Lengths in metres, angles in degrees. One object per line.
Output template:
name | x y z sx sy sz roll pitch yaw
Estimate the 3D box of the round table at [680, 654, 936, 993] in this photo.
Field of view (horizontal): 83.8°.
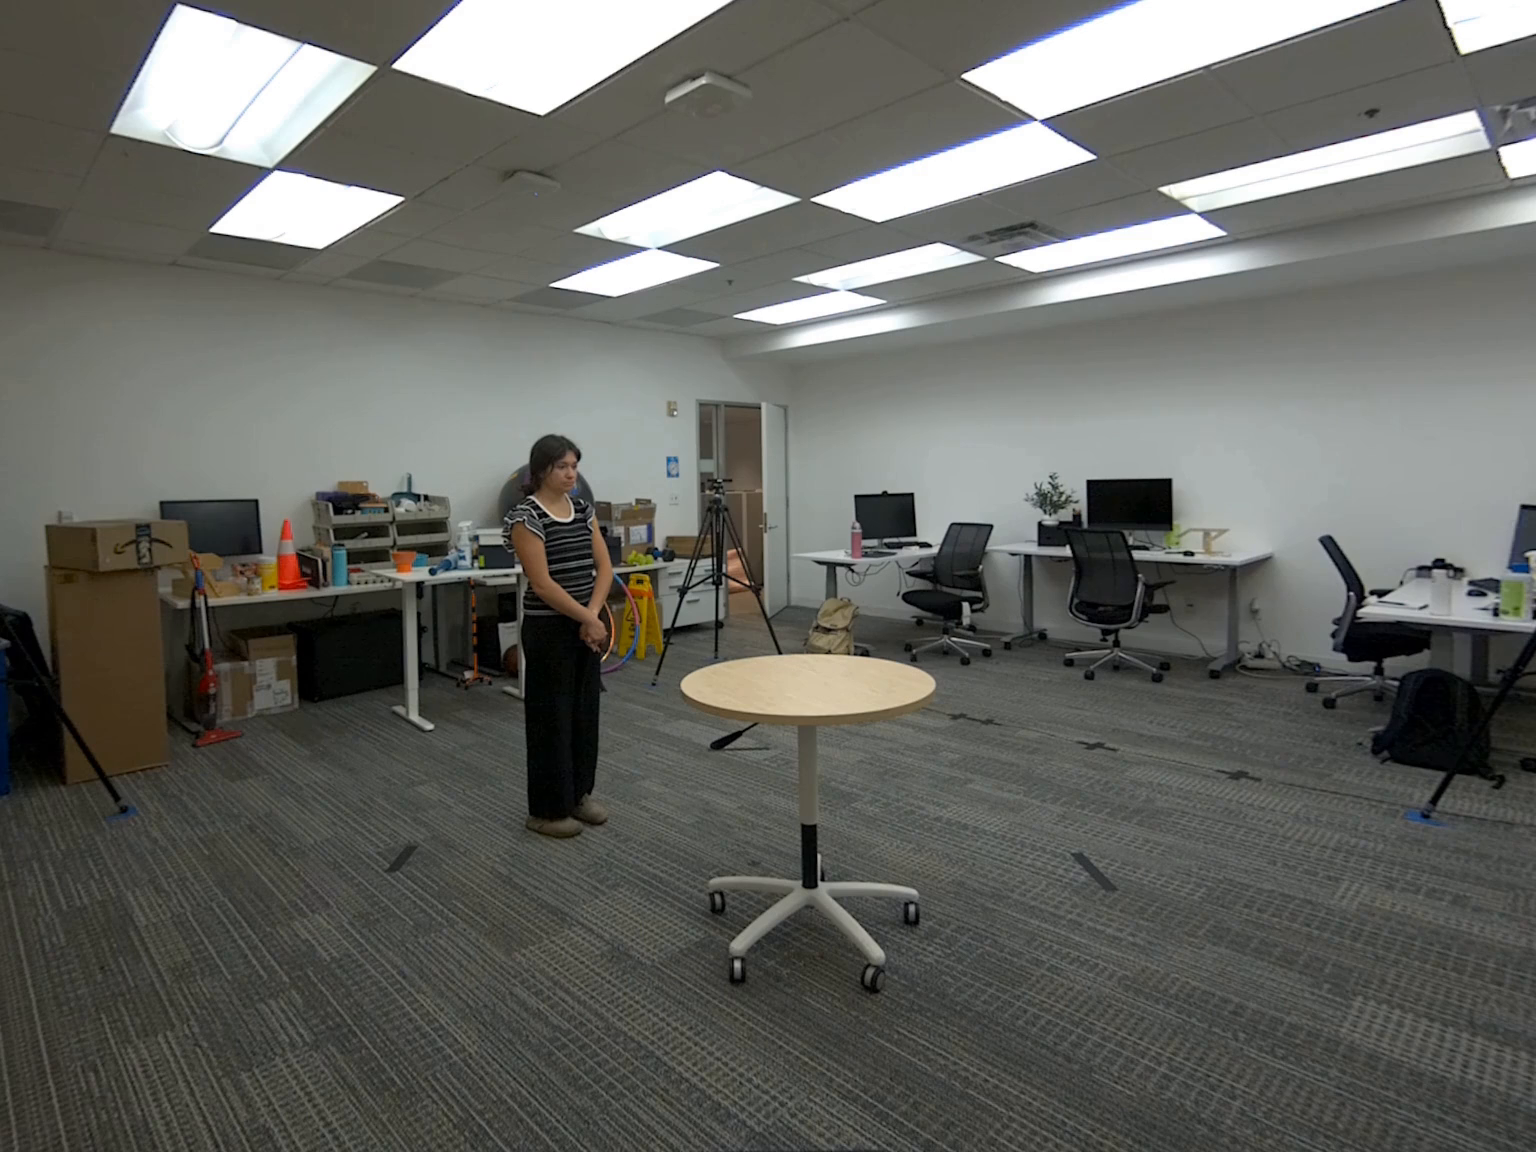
round table | 0.134 0.712 2.617 0.763 0.791 0.768 -2 5 -2
